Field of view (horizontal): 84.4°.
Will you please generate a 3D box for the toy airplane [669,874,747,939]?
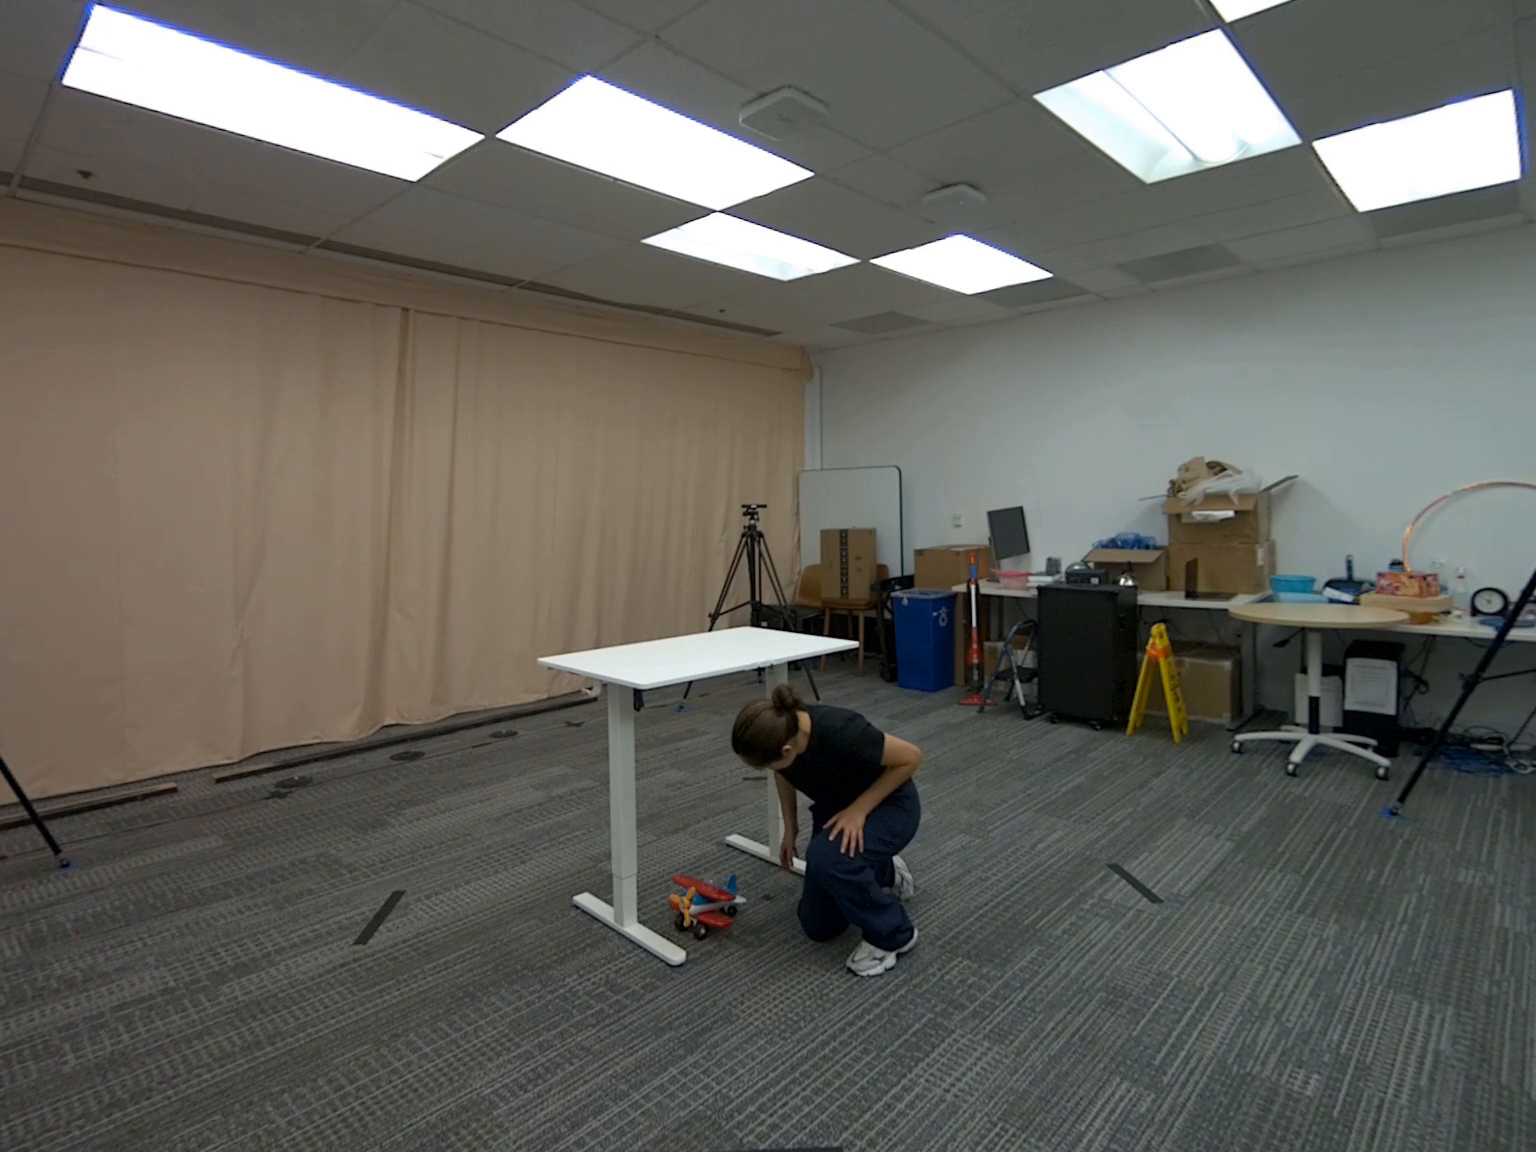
[{"bbox_3d":[-0.191,1.093,2.804,0.255,0.156,0.256,-1,5,13],"label":"toy airplane"}]
